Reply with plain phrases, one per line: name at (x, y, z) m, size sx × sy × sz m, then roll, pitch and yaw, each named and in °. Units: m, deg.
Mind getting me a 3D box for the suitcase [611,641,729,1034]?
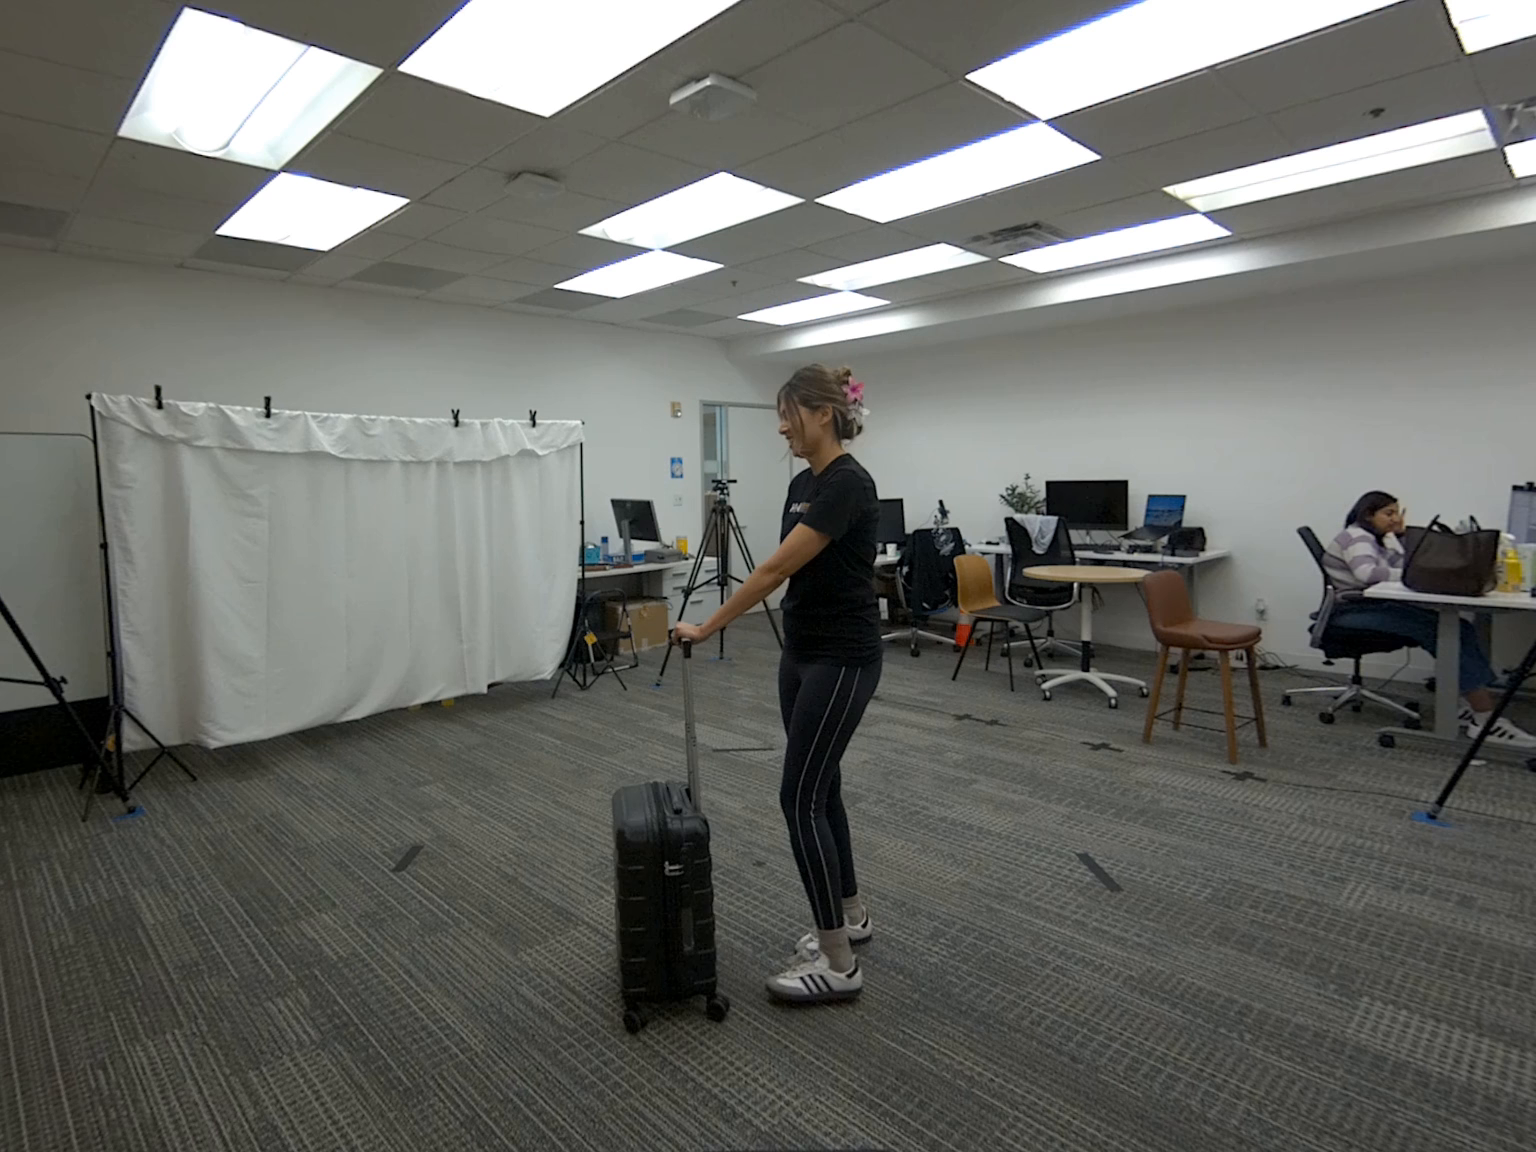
suitcase at (-0.299, 0.666, 2.325) m, size 0.255 × 0.975 × 0.389 m, roll -5°, pitch 3°, yaw -11°
